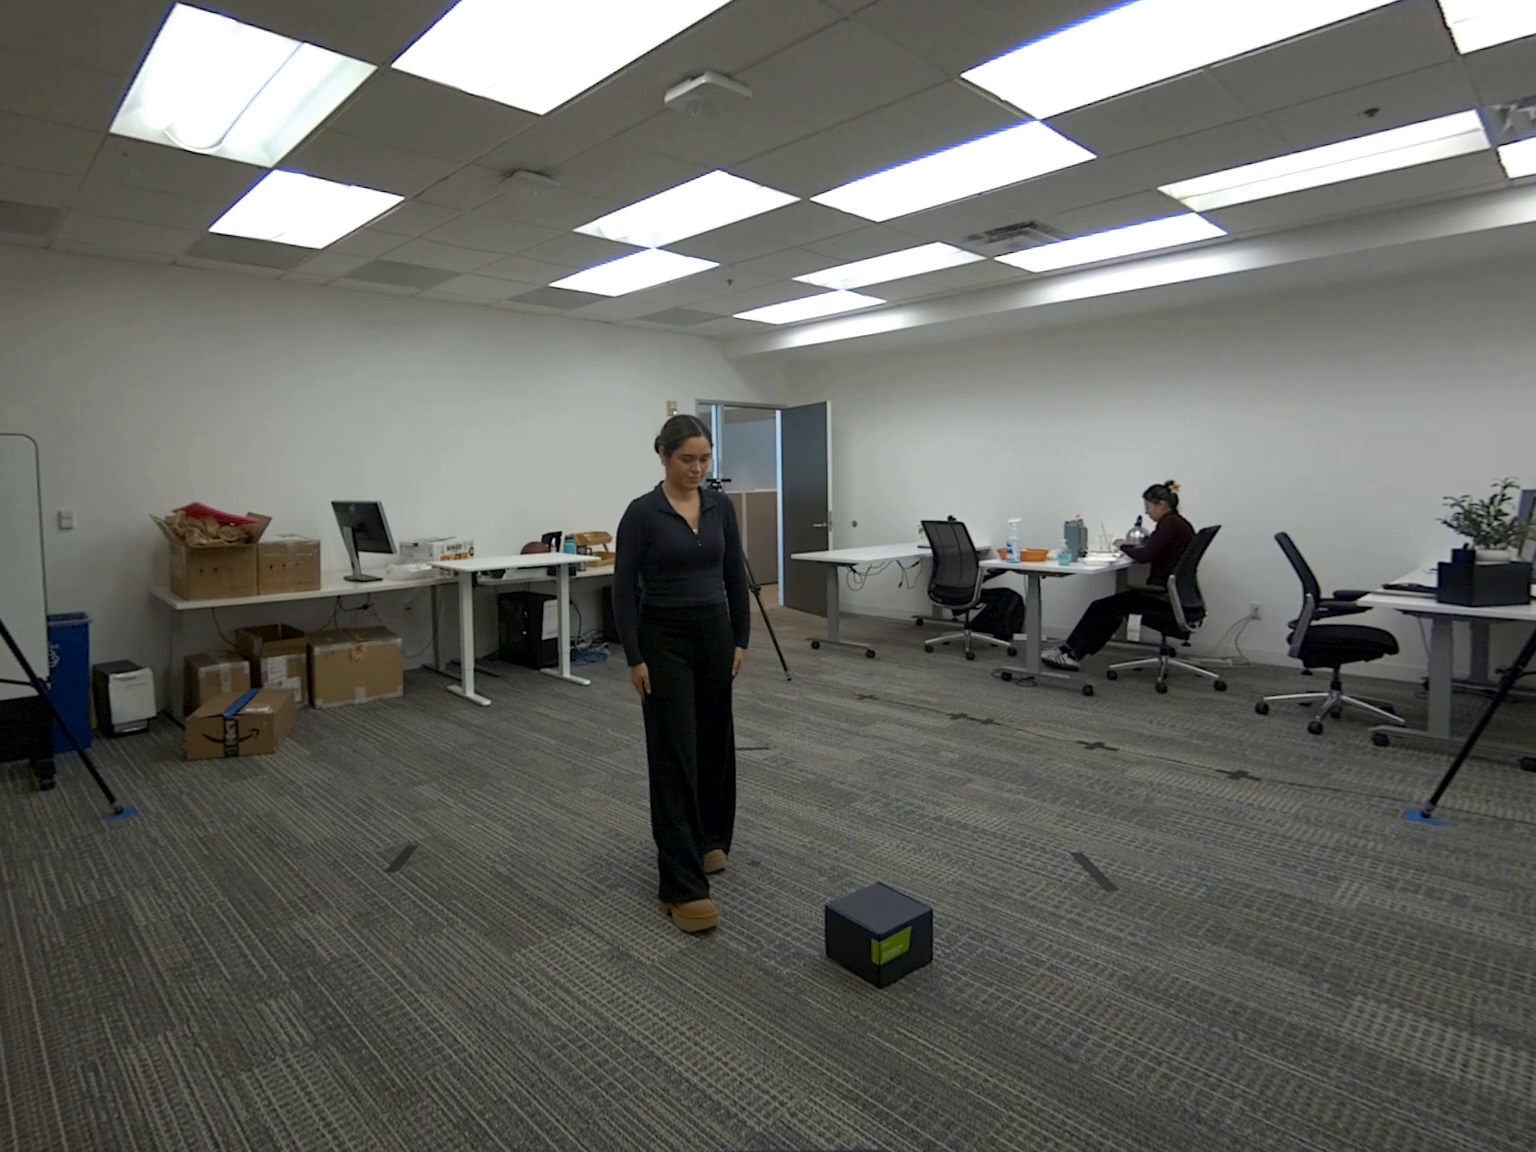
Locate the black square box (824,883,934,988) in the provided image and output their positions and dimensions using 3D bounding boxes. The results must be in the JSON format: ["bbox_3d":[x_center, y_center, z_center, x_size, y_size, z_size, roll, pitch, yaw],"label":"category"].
[{"bbox_3d":[0.324,1.029,2.471,0.222,0.155,0.224,-5,8,-39],"label":"black square box"}]
